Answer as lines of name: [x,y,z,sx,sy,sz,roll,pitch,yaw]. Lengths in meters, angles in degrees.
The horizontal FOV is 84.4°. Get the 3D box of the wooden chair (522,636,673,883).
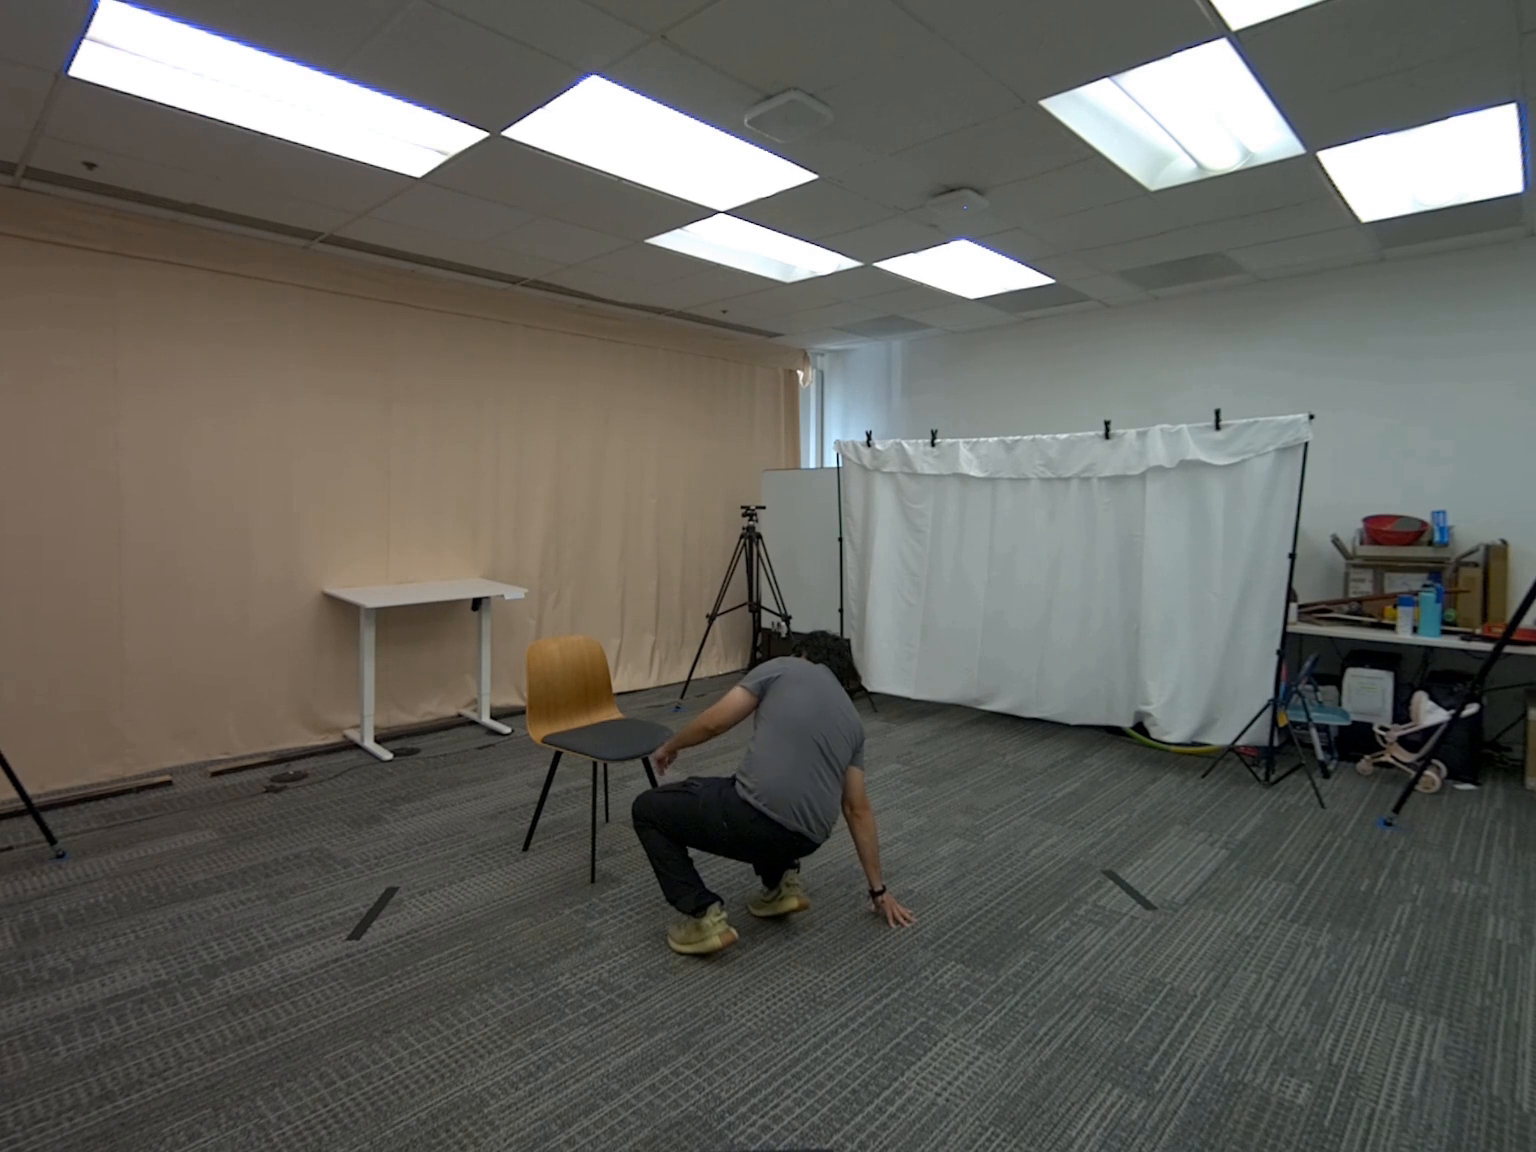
wooden chair: [-0.677,0.687,3.394,0.539,0.877,0.463,-4,0,42]
